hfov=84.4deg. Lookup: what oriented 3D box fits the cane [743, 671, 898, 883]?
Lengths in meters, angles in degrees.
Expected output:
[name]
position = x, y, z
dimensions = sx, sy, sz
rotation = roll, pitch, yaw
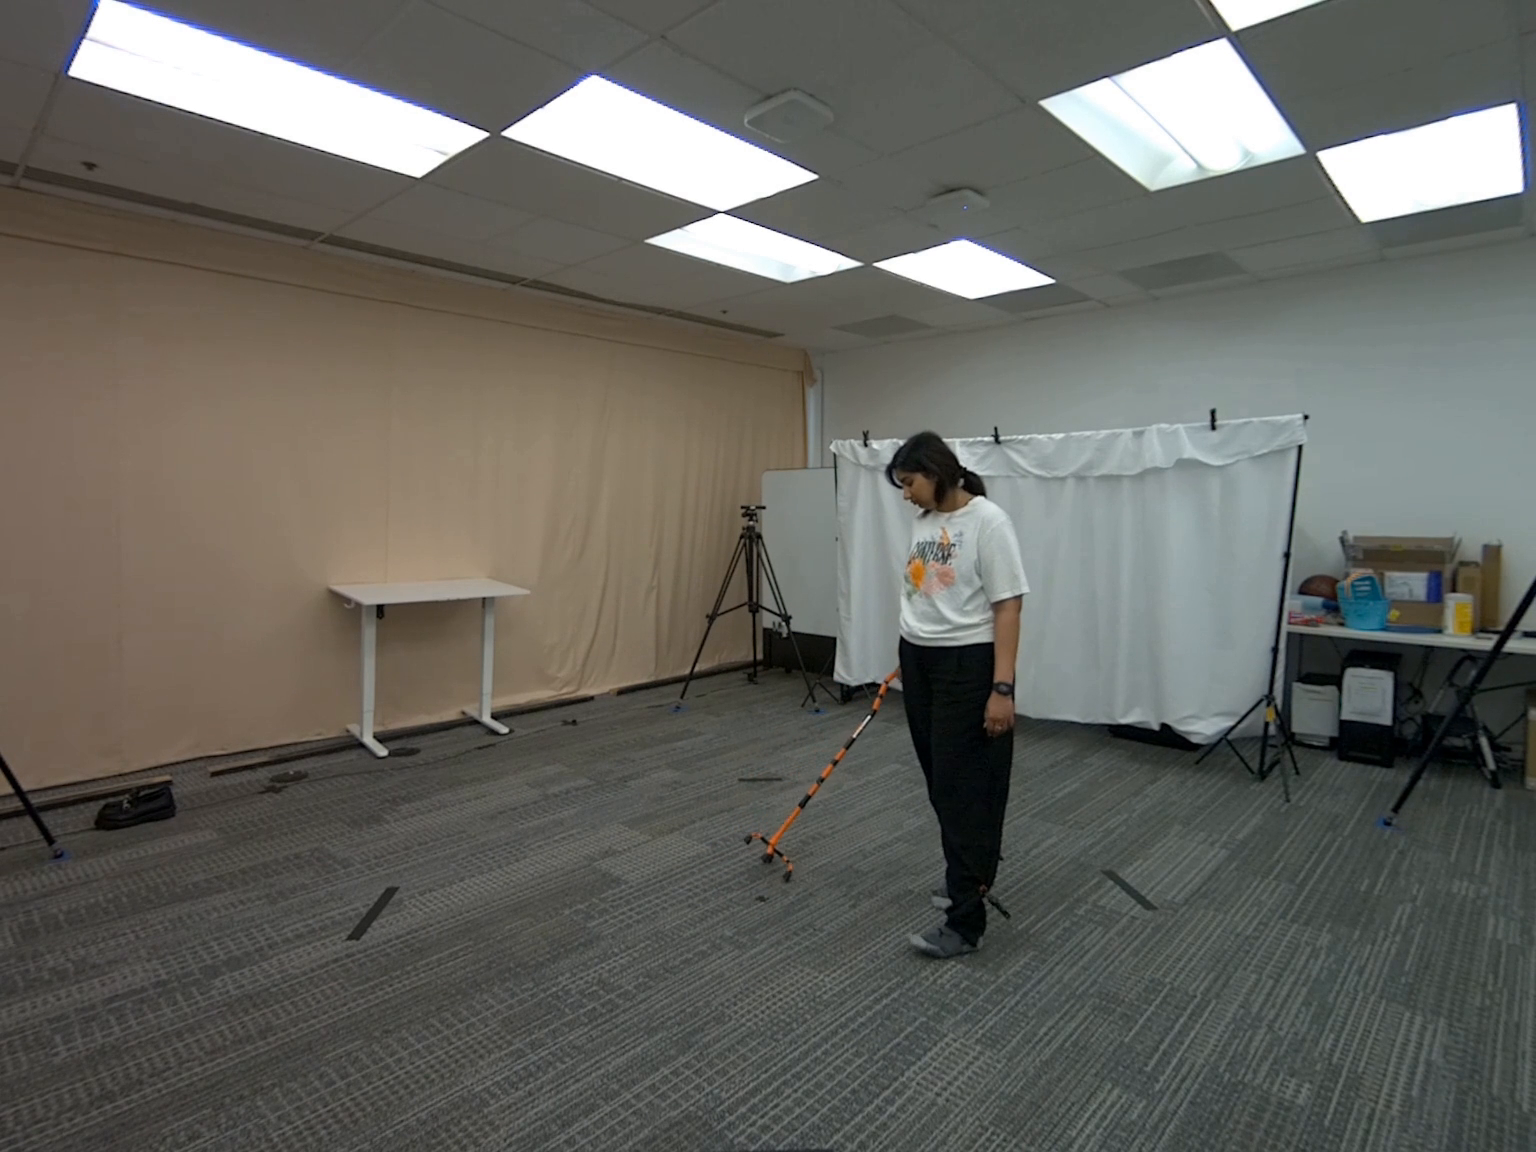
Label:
[cane]
position = 0.271, 0.731, 3.255
dimensions = 0.149, 0.906, 0.211
rotation = 42, -10, -17
